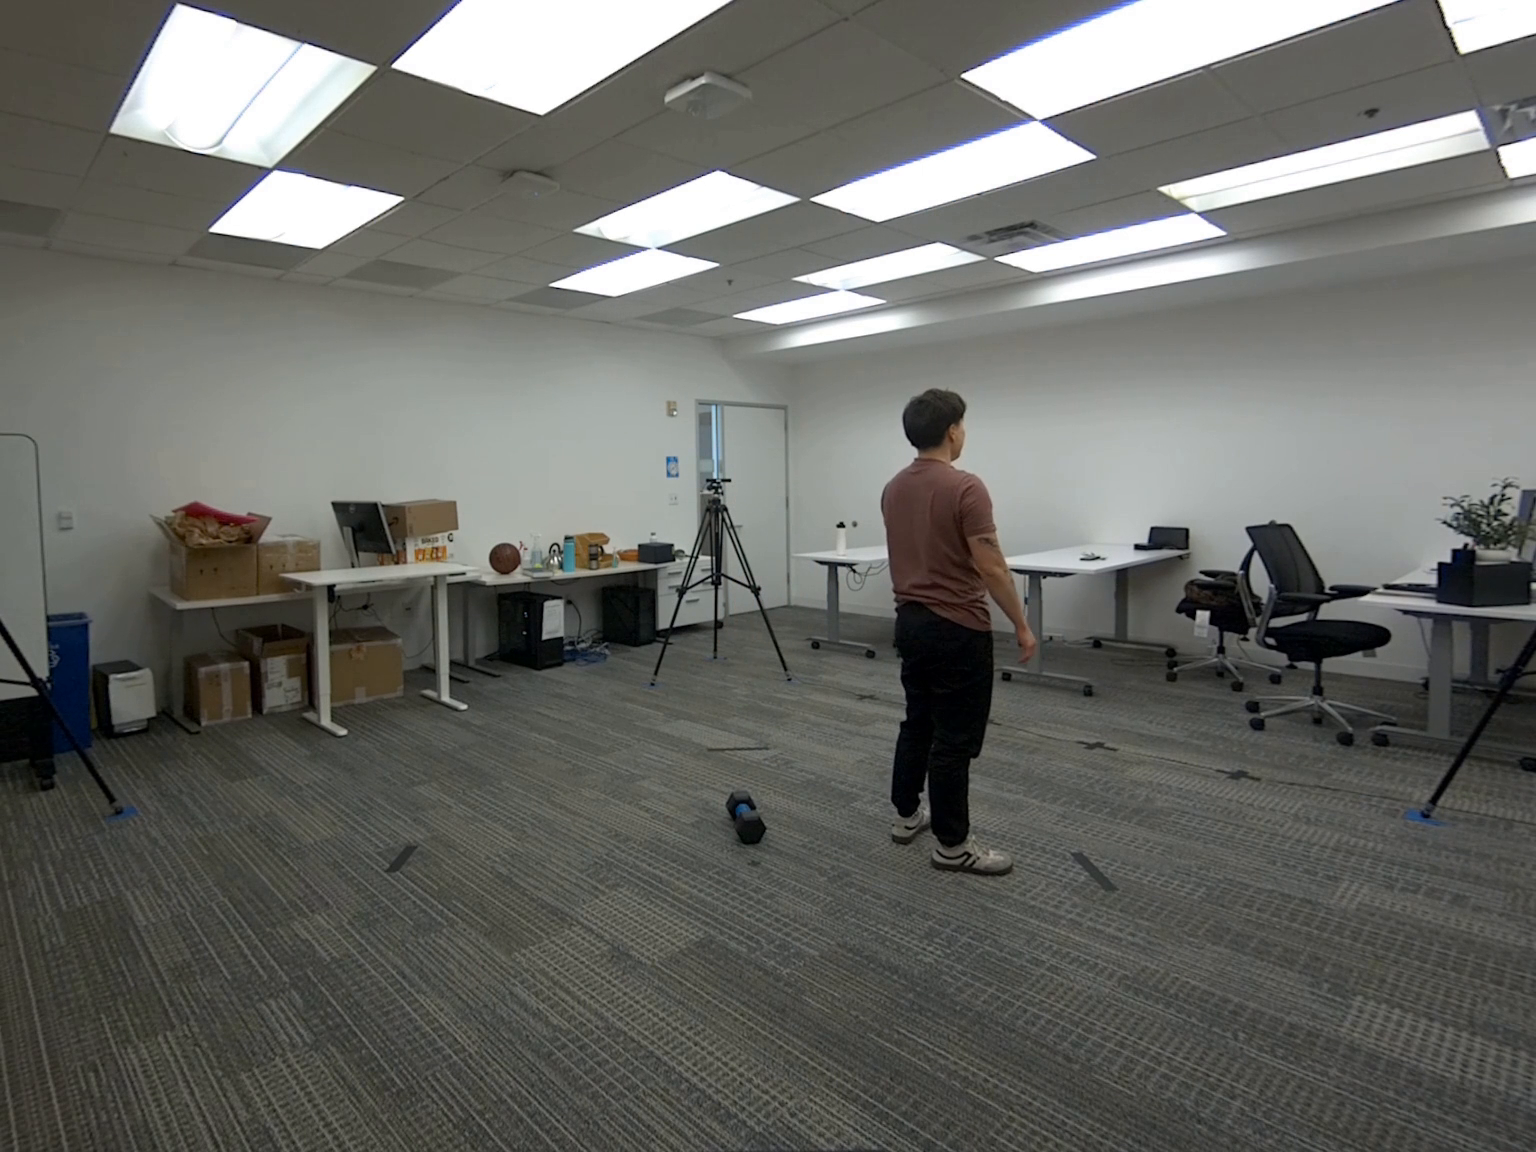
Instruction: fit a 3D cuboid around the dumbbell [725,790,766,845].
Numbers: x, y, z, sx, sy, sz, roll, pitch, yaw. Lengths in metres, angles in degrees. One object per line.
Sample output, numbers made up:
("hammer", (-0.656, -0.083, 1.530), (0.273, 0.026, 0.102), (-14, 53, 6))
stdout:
("dumbbell", (-0.086, 0.958, 3.403), (0.108, 0.121, 0.297), (-31, 10, -5))
